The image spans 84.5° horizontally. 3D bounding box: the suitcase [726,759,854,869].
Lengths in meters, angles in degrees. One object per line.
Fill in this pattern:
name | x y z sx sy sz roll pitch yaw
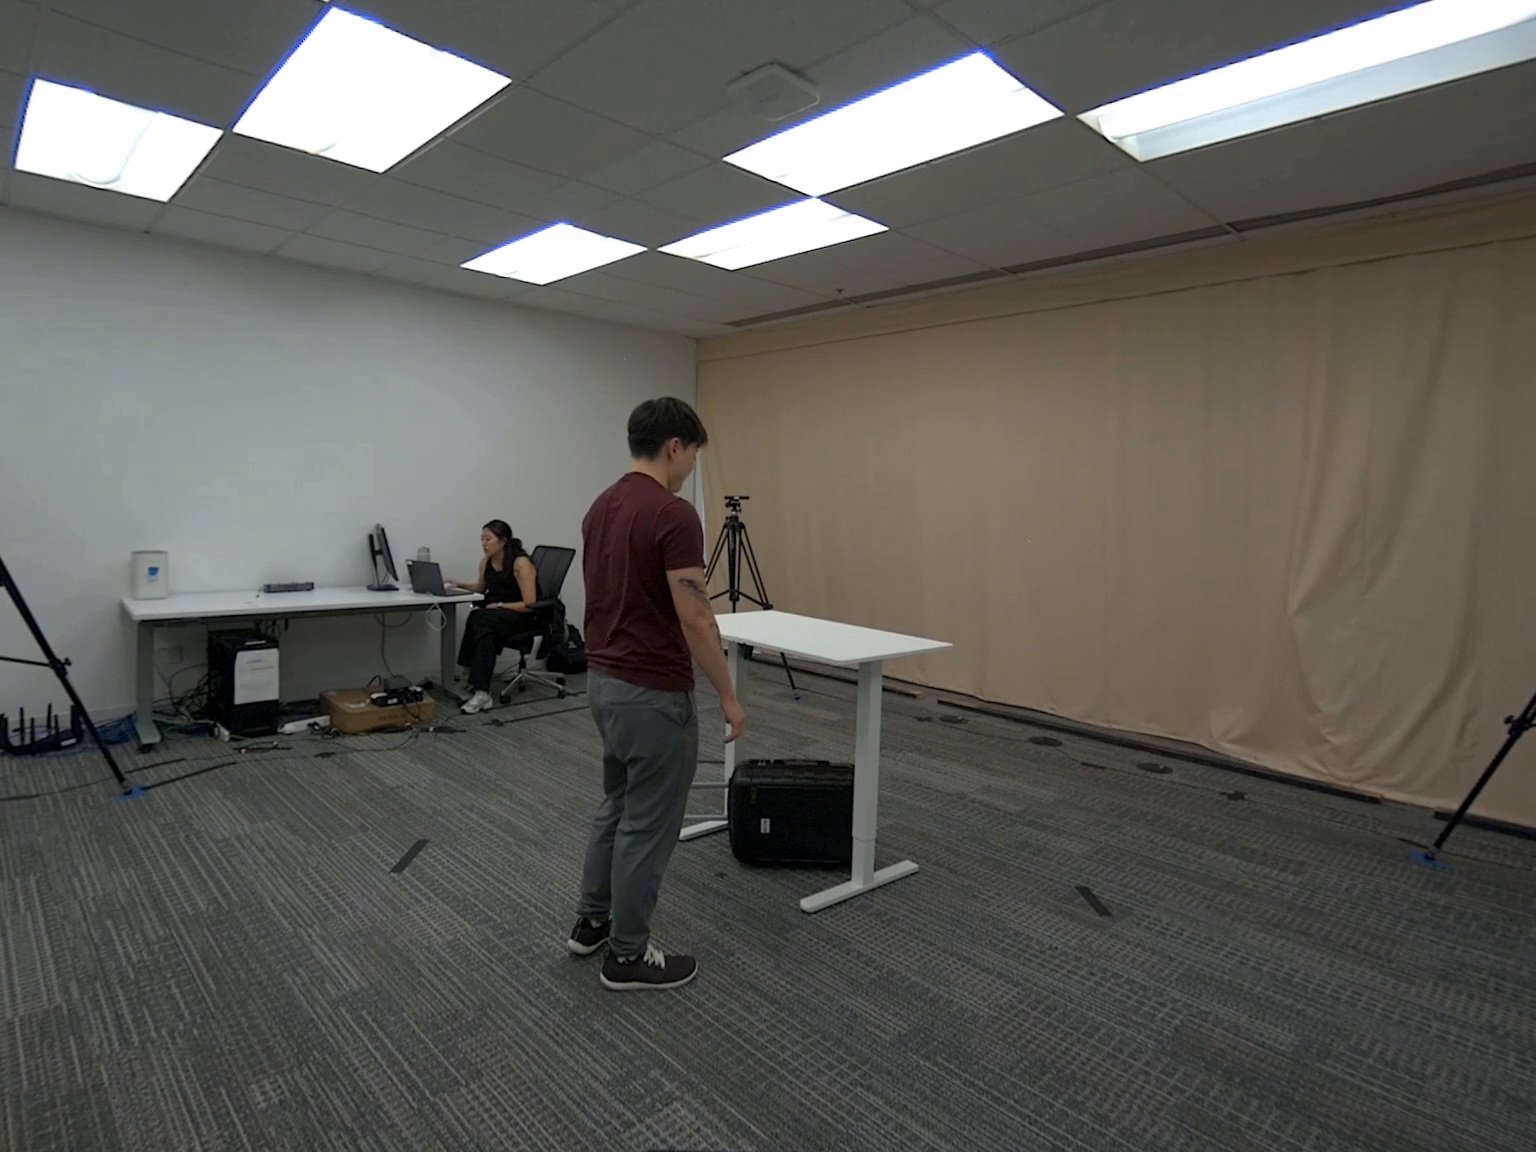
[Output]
suitcase | -0.095 0.907 3.234 0.977 0.383 0.257 0 2 -1
